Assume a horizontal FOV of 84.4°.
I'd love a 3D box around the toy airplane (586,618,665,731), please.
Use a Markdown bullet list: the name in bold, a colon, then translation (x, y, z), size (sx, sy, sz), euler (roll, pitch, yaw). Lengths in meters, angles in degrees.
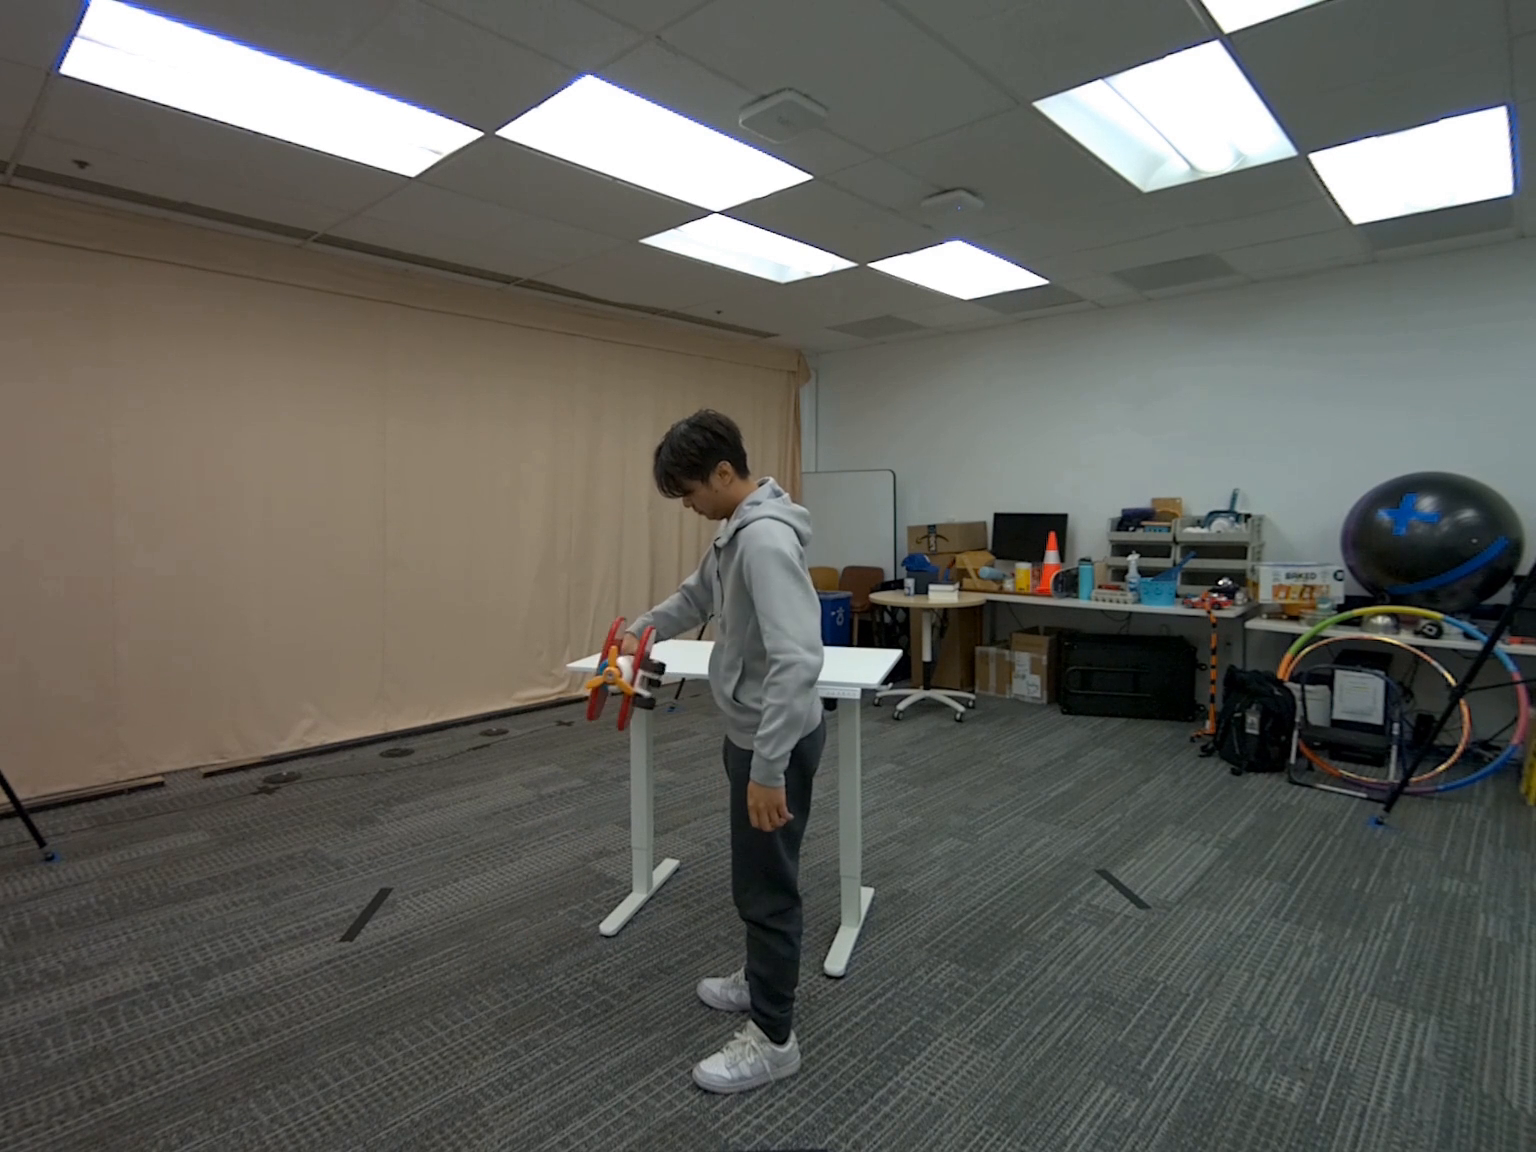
- **toy airplane**: translation (-0.327, 0.264, 2.052), size (0.156, 0.253, 0.257), euler (16, -30, -3)
